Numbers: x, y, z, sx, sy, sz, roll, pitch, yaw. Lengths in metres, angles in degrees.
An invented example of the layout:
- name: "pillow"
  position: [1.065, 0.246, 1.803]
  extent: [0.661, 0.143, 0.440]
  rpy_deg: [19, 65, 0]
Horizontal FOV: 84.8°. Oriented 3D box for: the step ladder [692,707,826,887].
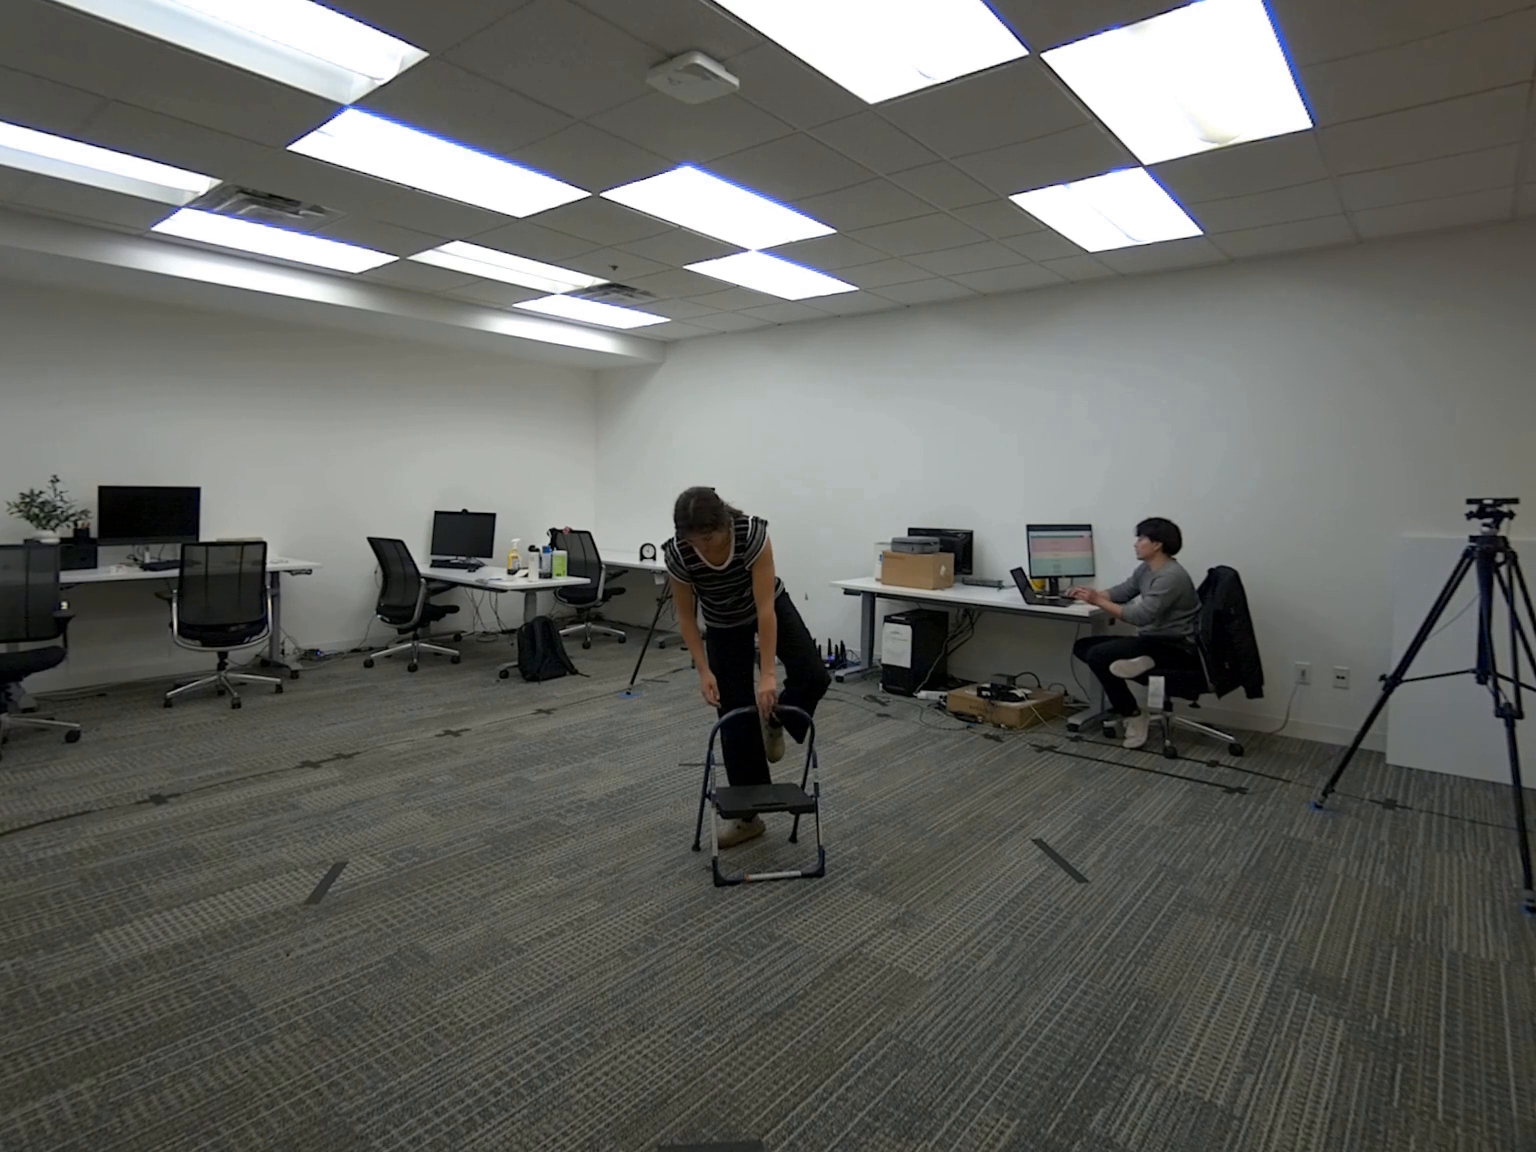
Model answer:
- name: "step ladder"
  position: [-0.044, 0.764, 3.161]
  extent: [0.423, 0.604, 0.356]
  rpy_deg: [0, 3, -16]
